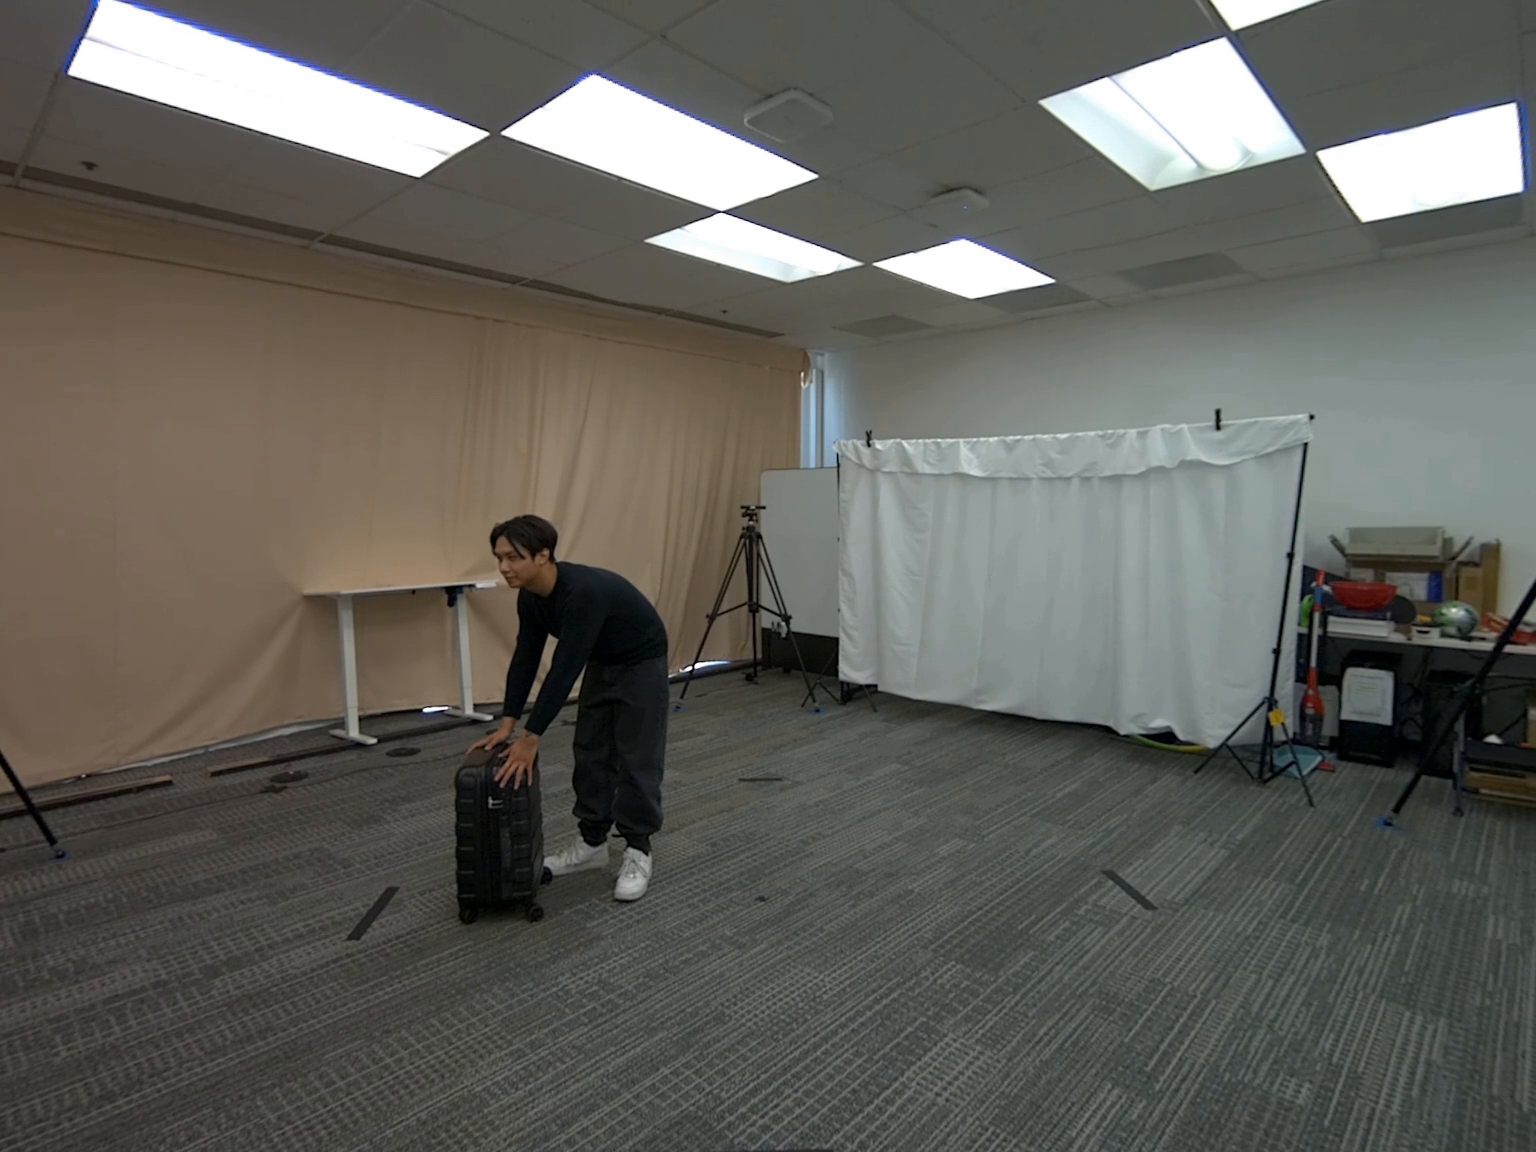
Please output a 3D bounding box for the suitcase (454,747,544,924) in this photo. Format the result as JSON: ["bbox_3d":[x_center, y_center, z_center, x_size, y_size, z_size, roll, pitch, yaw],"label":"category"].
[{"bbox_3d":[-0.945,0.877,2.953,0.247,0.548,0.378,-1,3,-6],"label":"suitcase"}]
